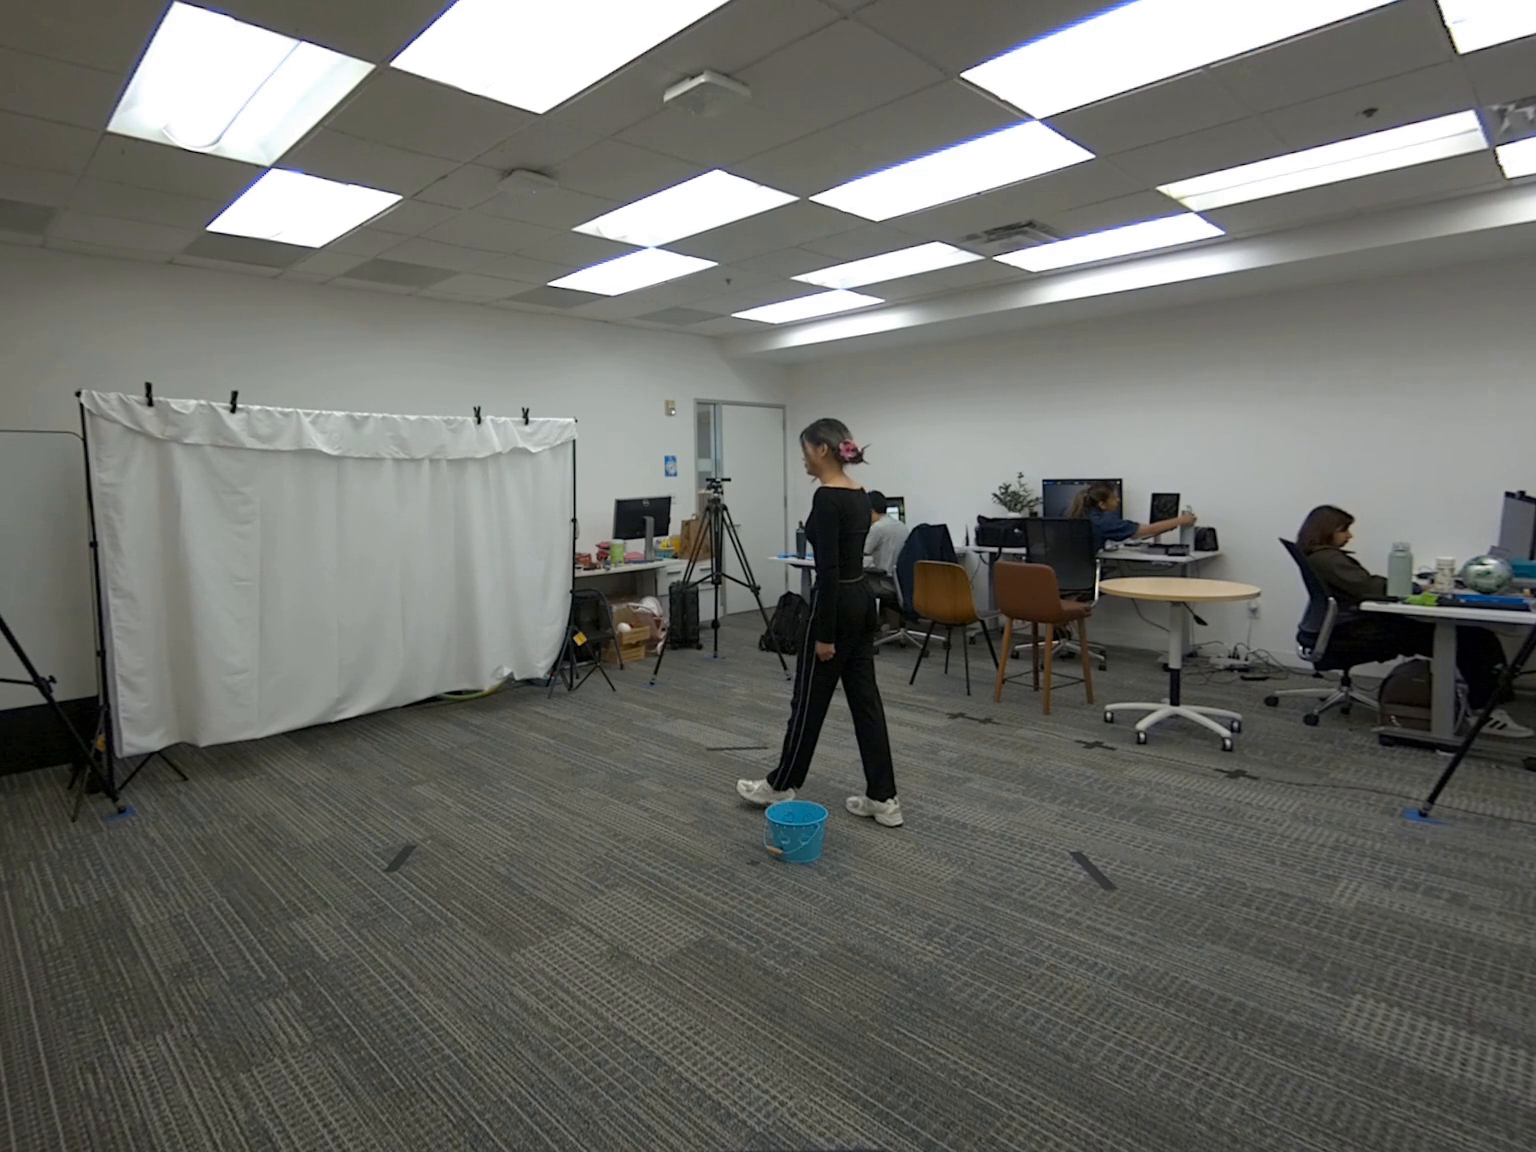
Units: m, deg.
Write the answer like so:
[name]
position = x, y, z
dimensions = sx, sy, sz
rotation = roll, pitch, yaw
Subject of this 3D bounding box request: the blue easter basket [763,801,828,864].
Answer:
[blue easter basket]
position = 0.105, 0.957, 3.187
dimensions = 0.243, 0.155, 0.245
rotation = 0, 5, -2
